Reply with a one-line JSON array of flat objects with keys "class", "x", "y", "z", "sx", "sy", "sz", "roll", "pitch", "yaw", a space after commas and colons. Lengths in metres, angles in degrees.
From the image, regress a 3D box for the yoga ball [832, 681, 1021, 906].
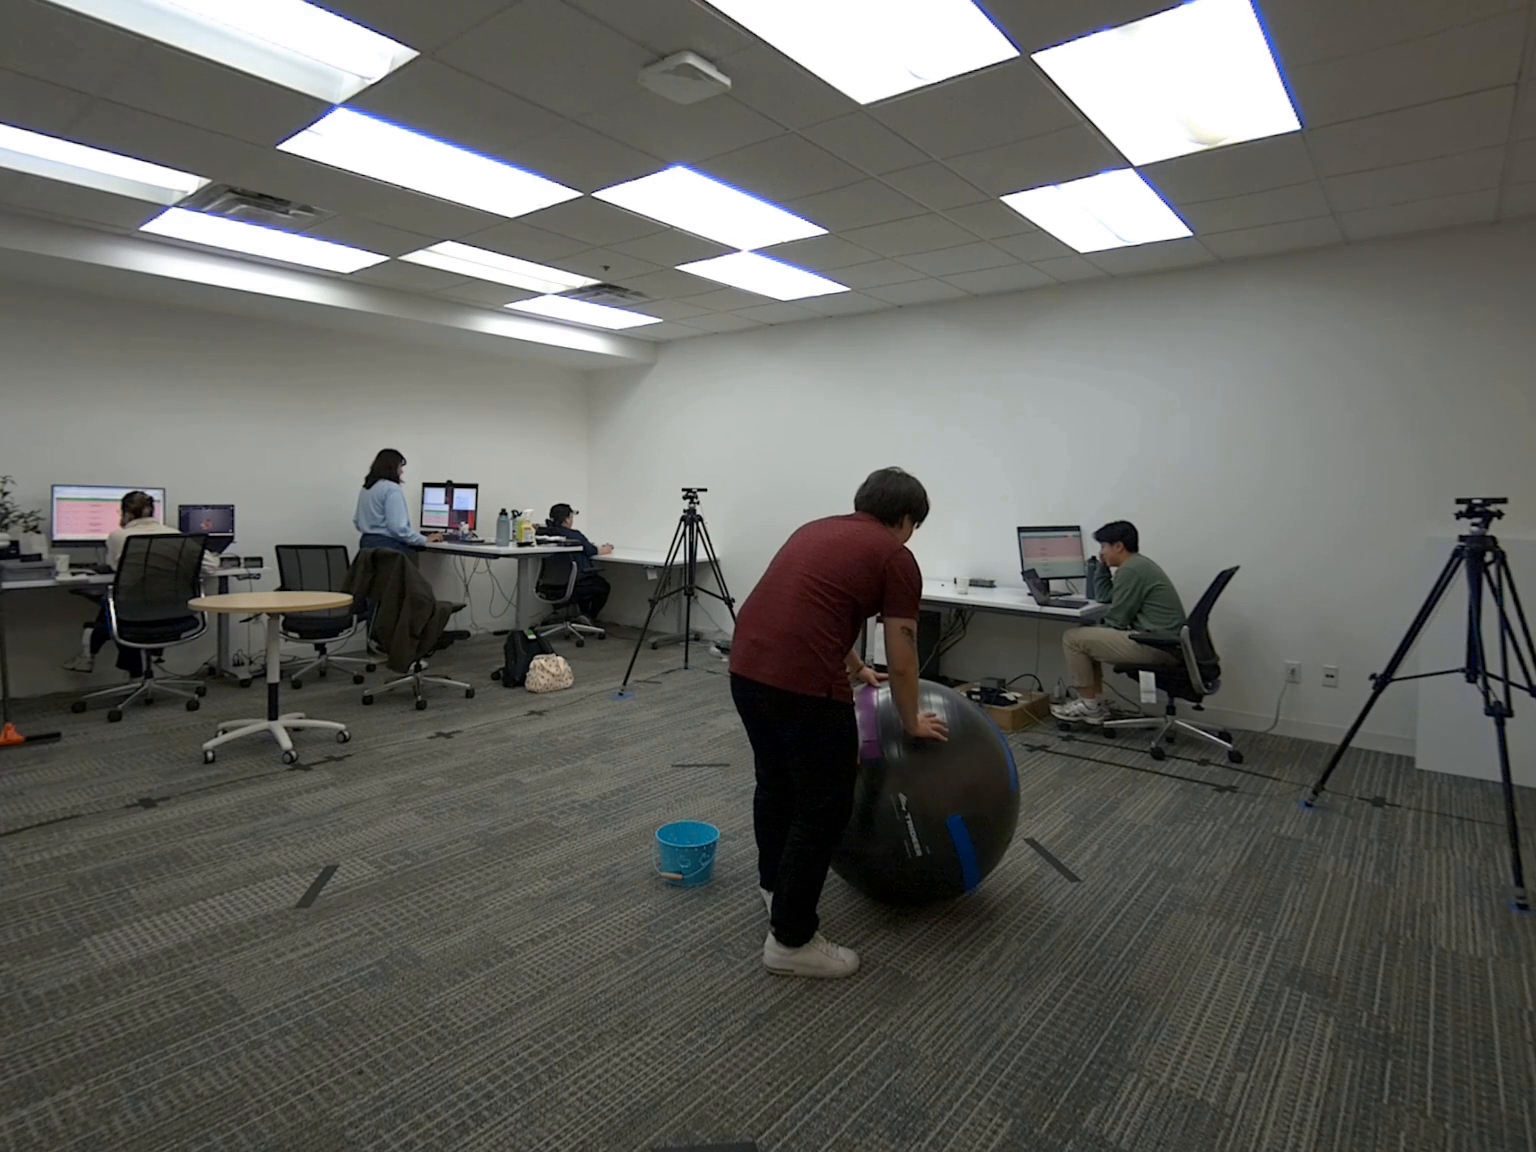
[{"class": "yoga ball", "x": 0.484, "y": 0.738, "z": 2.966, "sx": 0.757, "sy": 0.755, "sz": 0.762, "roll": 1, "pitch": 4, "yaw": -2}]
